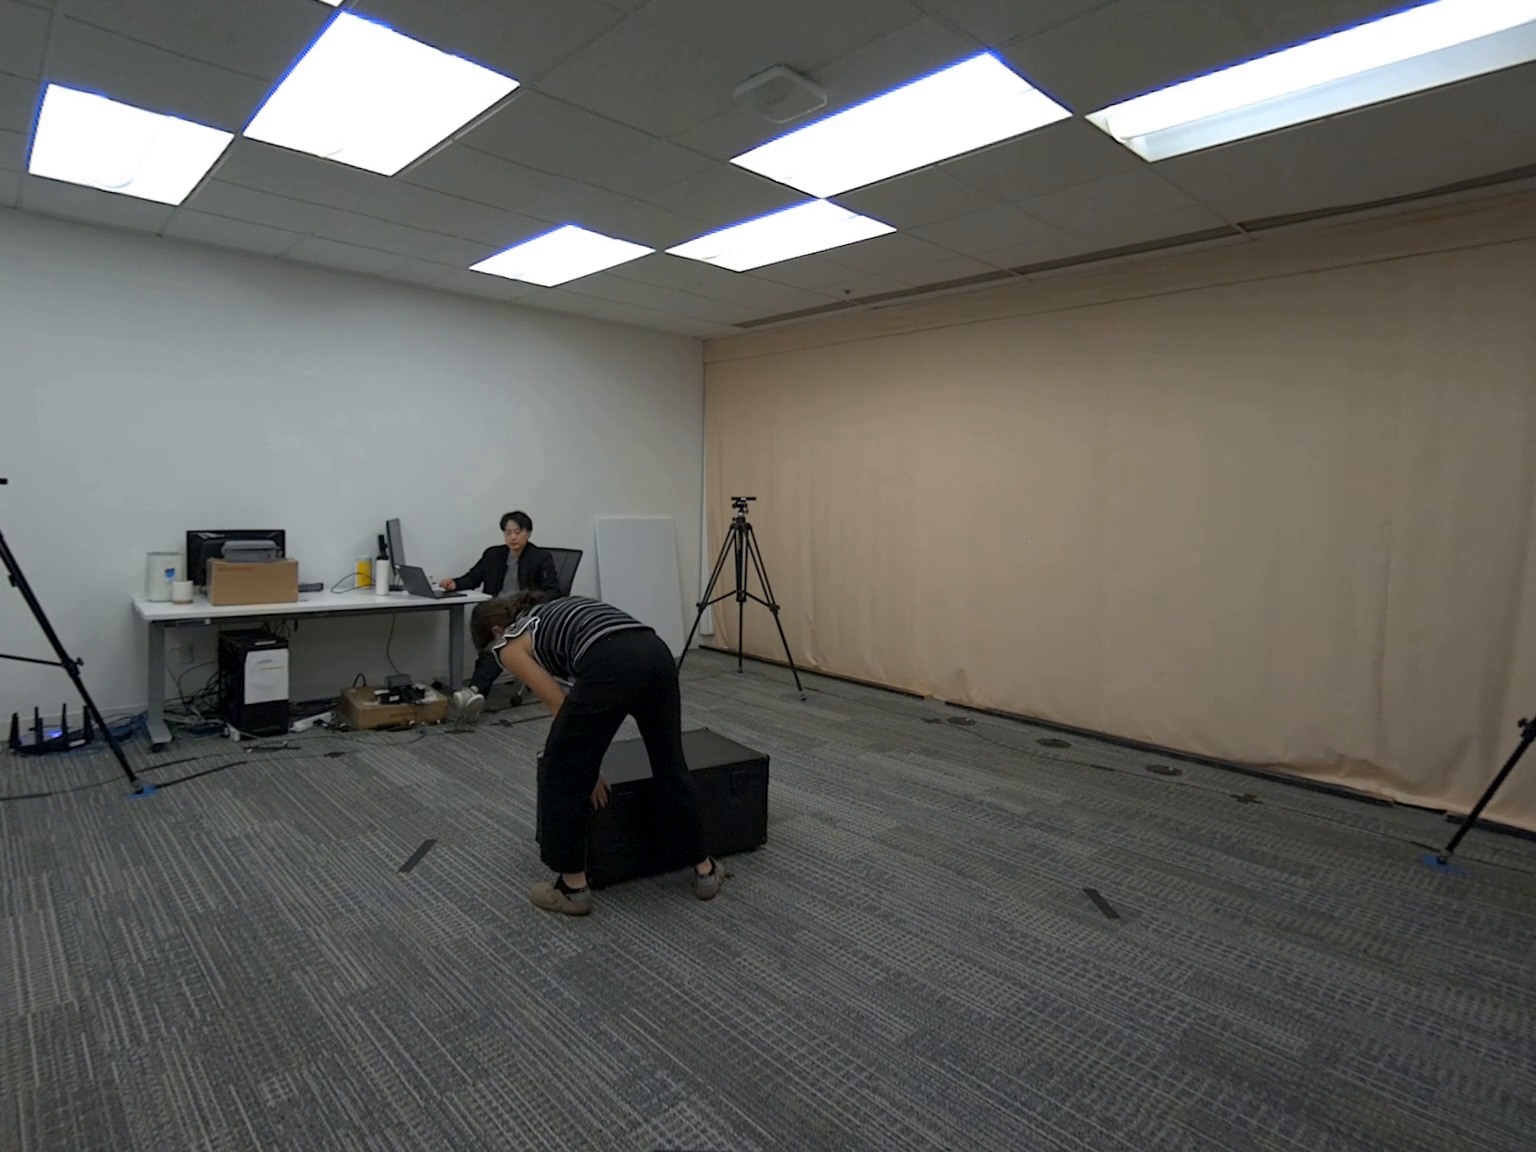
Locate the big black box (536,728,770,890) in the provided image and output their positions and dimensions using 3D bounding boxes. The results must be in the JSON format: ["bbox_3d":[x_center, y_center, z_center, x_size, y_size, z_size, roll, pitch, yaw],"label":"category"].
[{"bbox_3d":[-0.429,0.892,3.345,0.843,0.395,0.534,-3,6,-34],"label":"big black box"}]
